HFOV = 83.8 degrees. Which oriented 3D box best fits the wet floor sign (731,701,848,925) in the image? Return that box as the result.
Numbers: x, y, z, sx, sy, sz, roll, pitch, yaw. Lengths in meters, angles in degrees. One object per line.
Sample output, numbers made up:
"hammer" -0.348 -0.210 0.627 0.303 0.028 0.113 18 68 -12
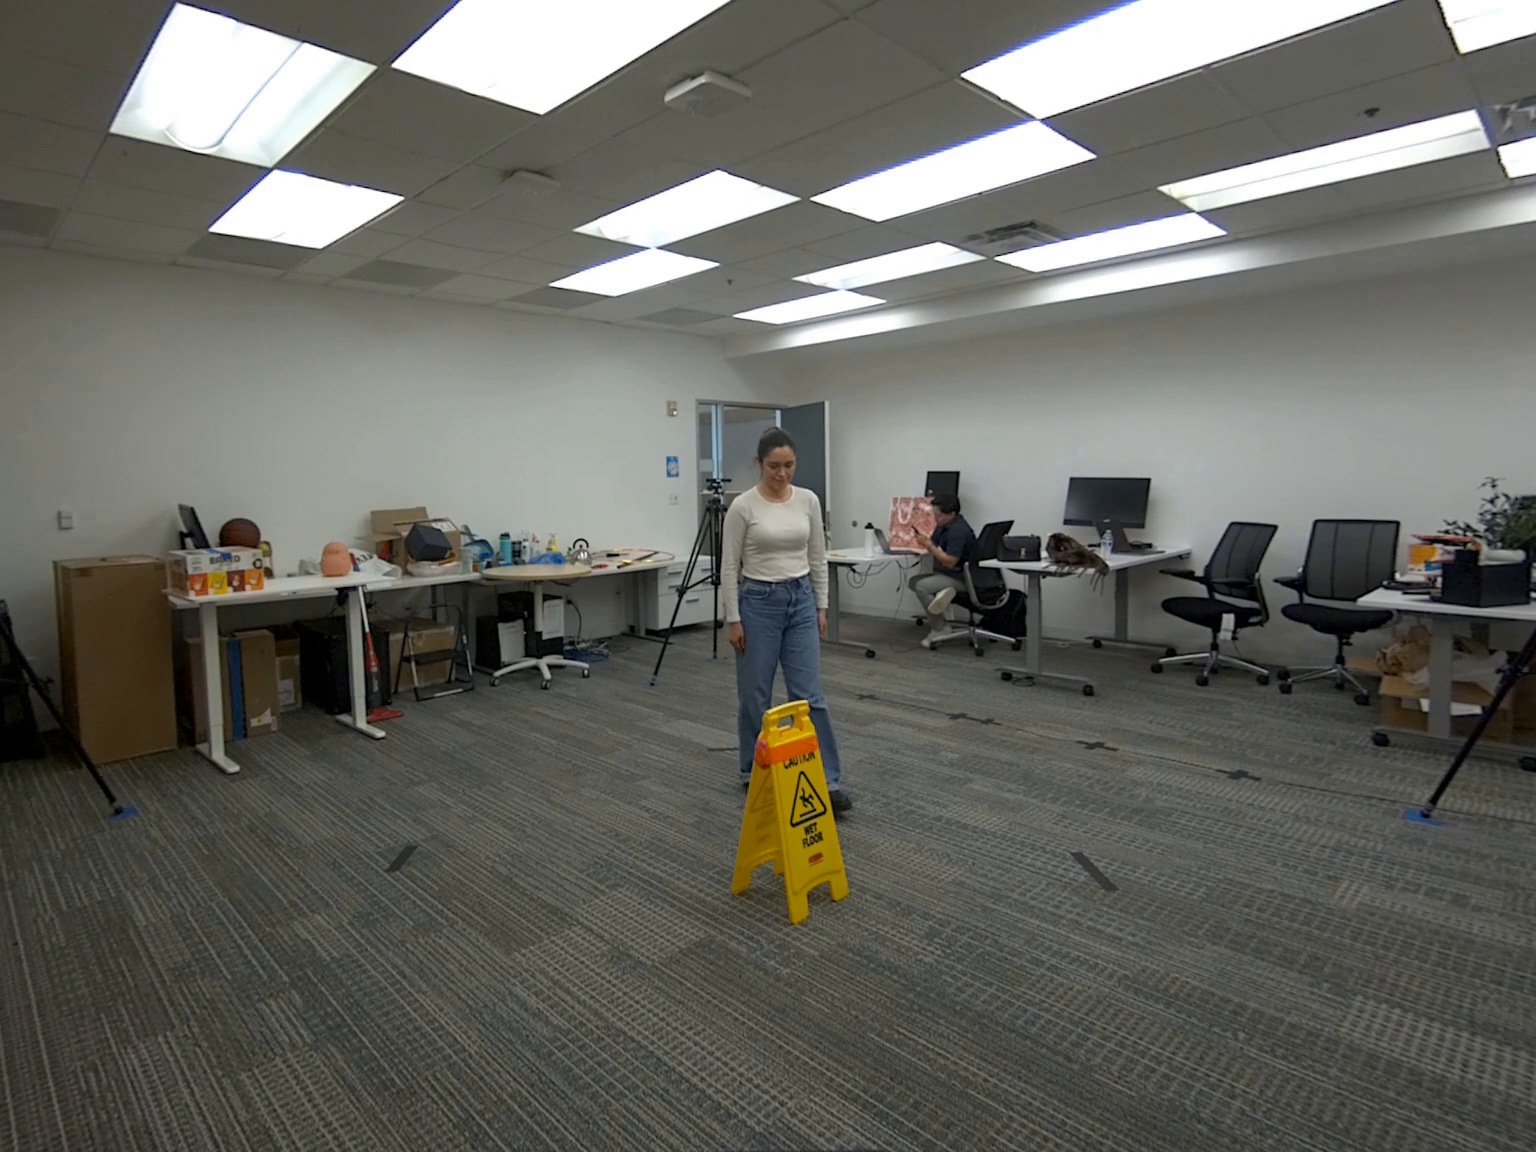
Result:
"wet floor sign" 0.068 0.751 2.847 0.275 0.643 0.299 -5 7 -45
